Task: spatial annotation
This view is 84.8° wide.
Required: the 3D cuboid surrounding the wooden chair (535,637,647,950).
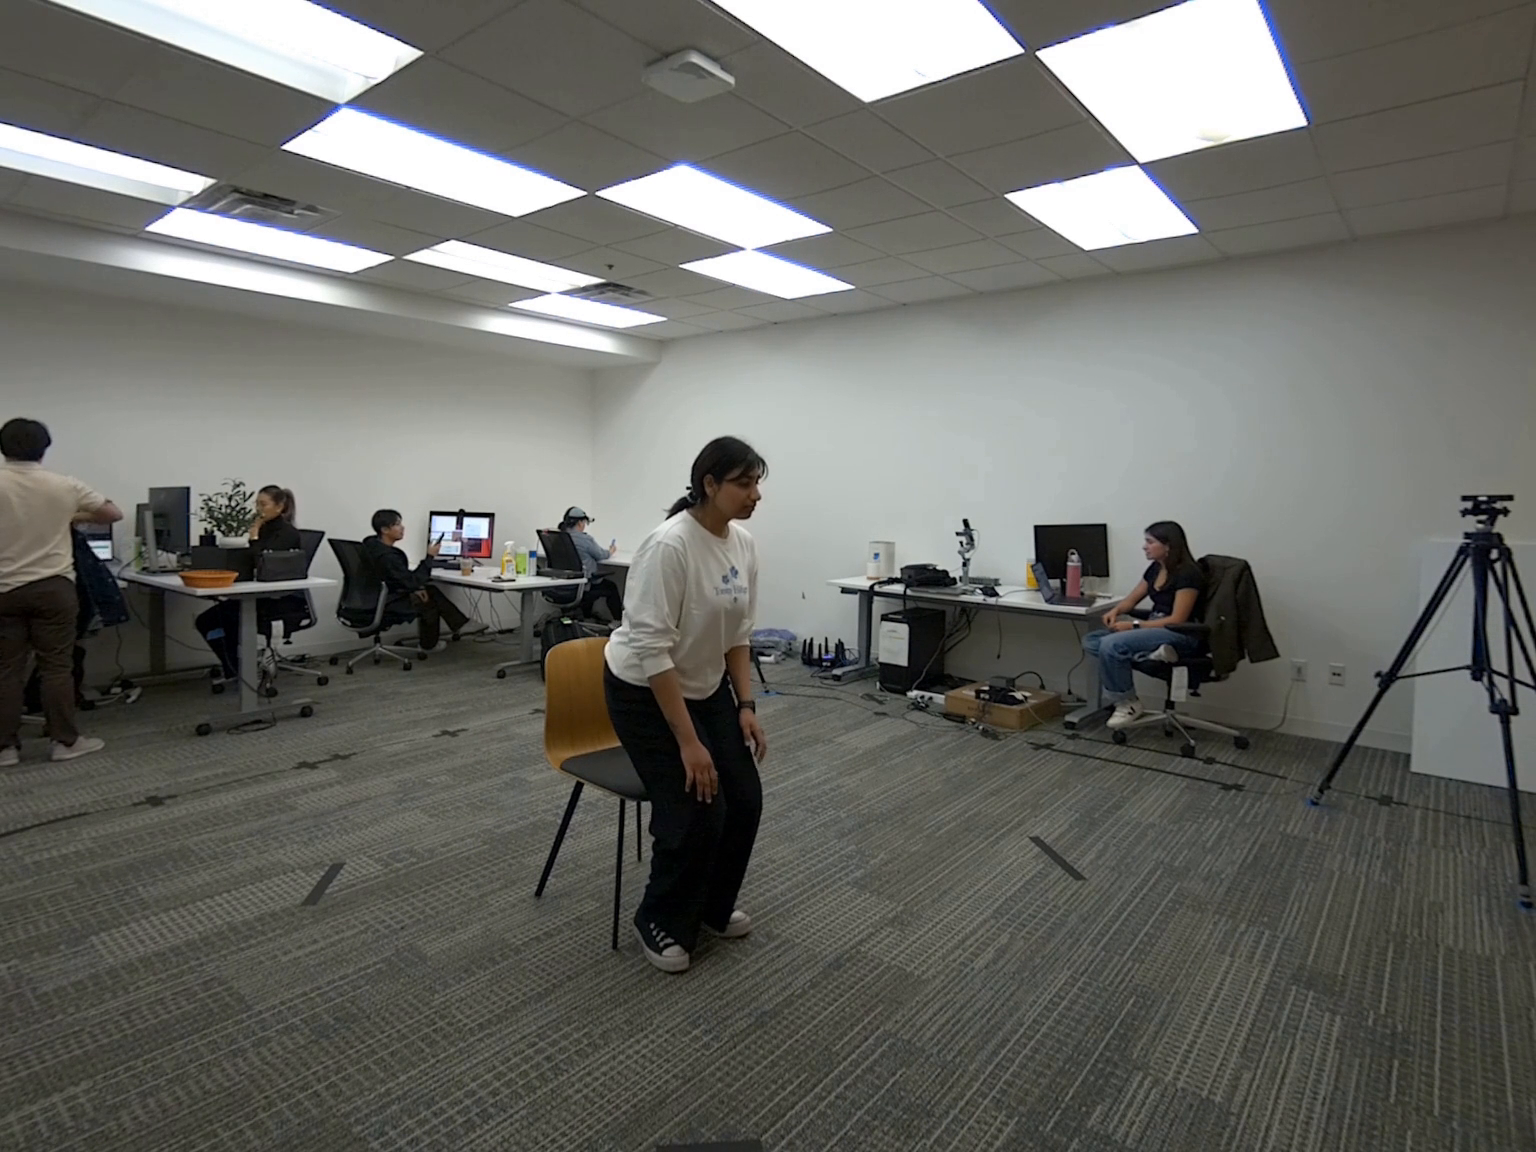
[{"bbox_3d":[-0.461,0.661,2.832,0.539,0.878,0.463,-1,0,45],"label":"wooden chair"}]
